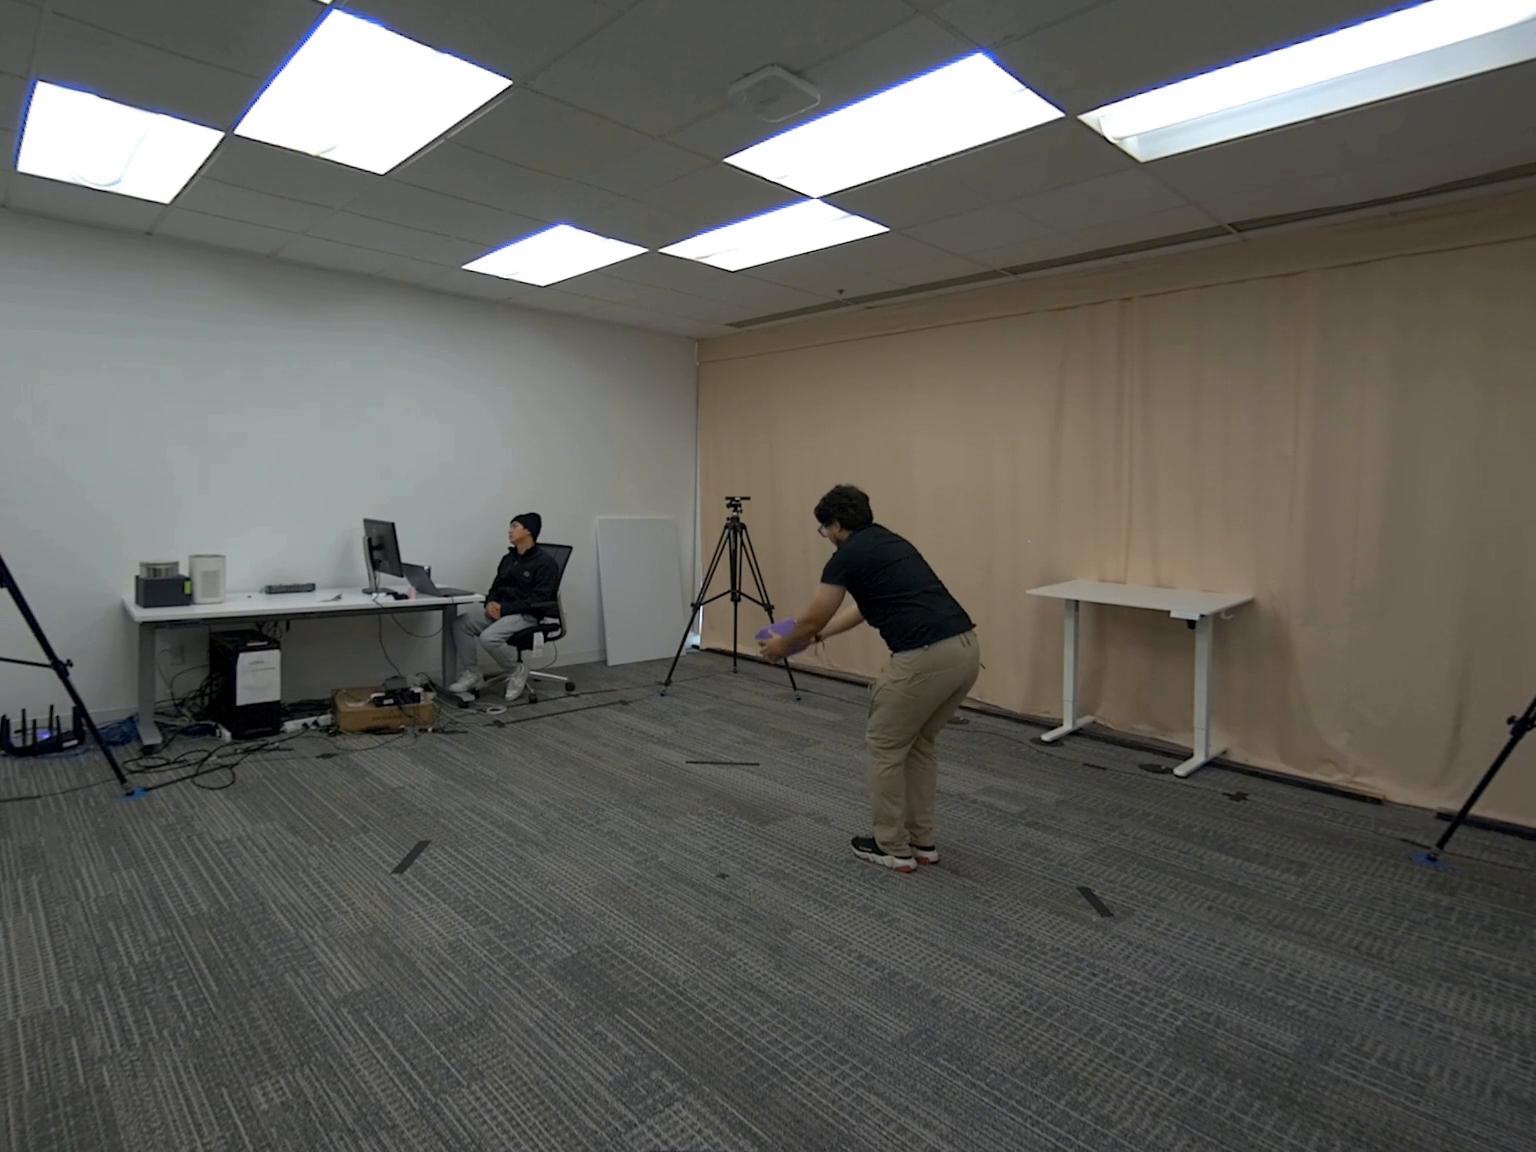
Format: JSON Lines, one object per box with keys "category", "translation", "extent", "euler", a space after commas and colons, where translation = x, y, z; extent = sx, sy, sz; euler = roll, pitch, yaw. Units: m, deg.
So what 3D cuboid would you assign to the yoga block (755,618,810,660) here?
{"category": "yoga block", "translation": [0.085, 0.267, 3.718], "extent": [0.153, 0.075, 0.225], "euler": [20, 21, 36]}
